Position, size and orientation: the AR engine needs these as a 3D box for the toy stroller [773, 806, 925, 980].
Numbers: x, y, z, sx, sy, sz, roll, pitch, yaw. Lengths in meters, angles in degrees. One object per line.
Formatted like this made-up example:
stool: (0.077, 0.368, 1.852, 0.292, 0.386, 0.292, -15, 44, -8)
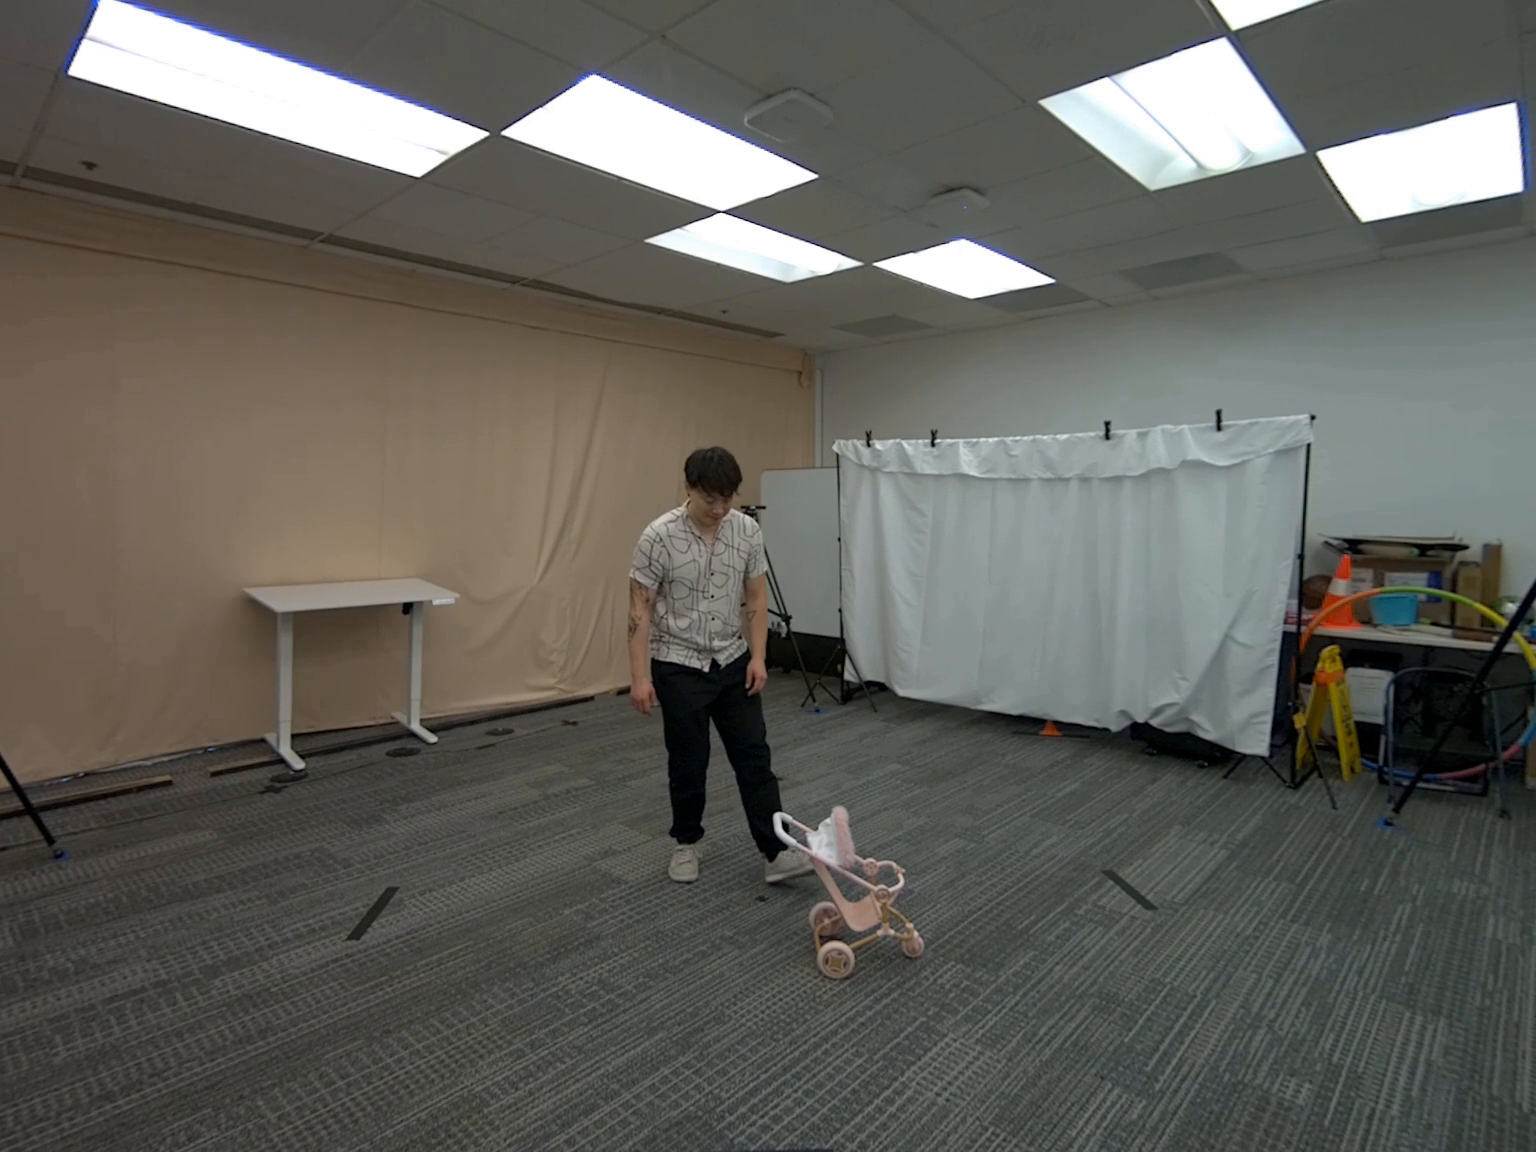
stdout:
toy stroller: (0.260, 0.955, 2.587, 0.343, 0.534, 0.281, -17, 2, 4)
